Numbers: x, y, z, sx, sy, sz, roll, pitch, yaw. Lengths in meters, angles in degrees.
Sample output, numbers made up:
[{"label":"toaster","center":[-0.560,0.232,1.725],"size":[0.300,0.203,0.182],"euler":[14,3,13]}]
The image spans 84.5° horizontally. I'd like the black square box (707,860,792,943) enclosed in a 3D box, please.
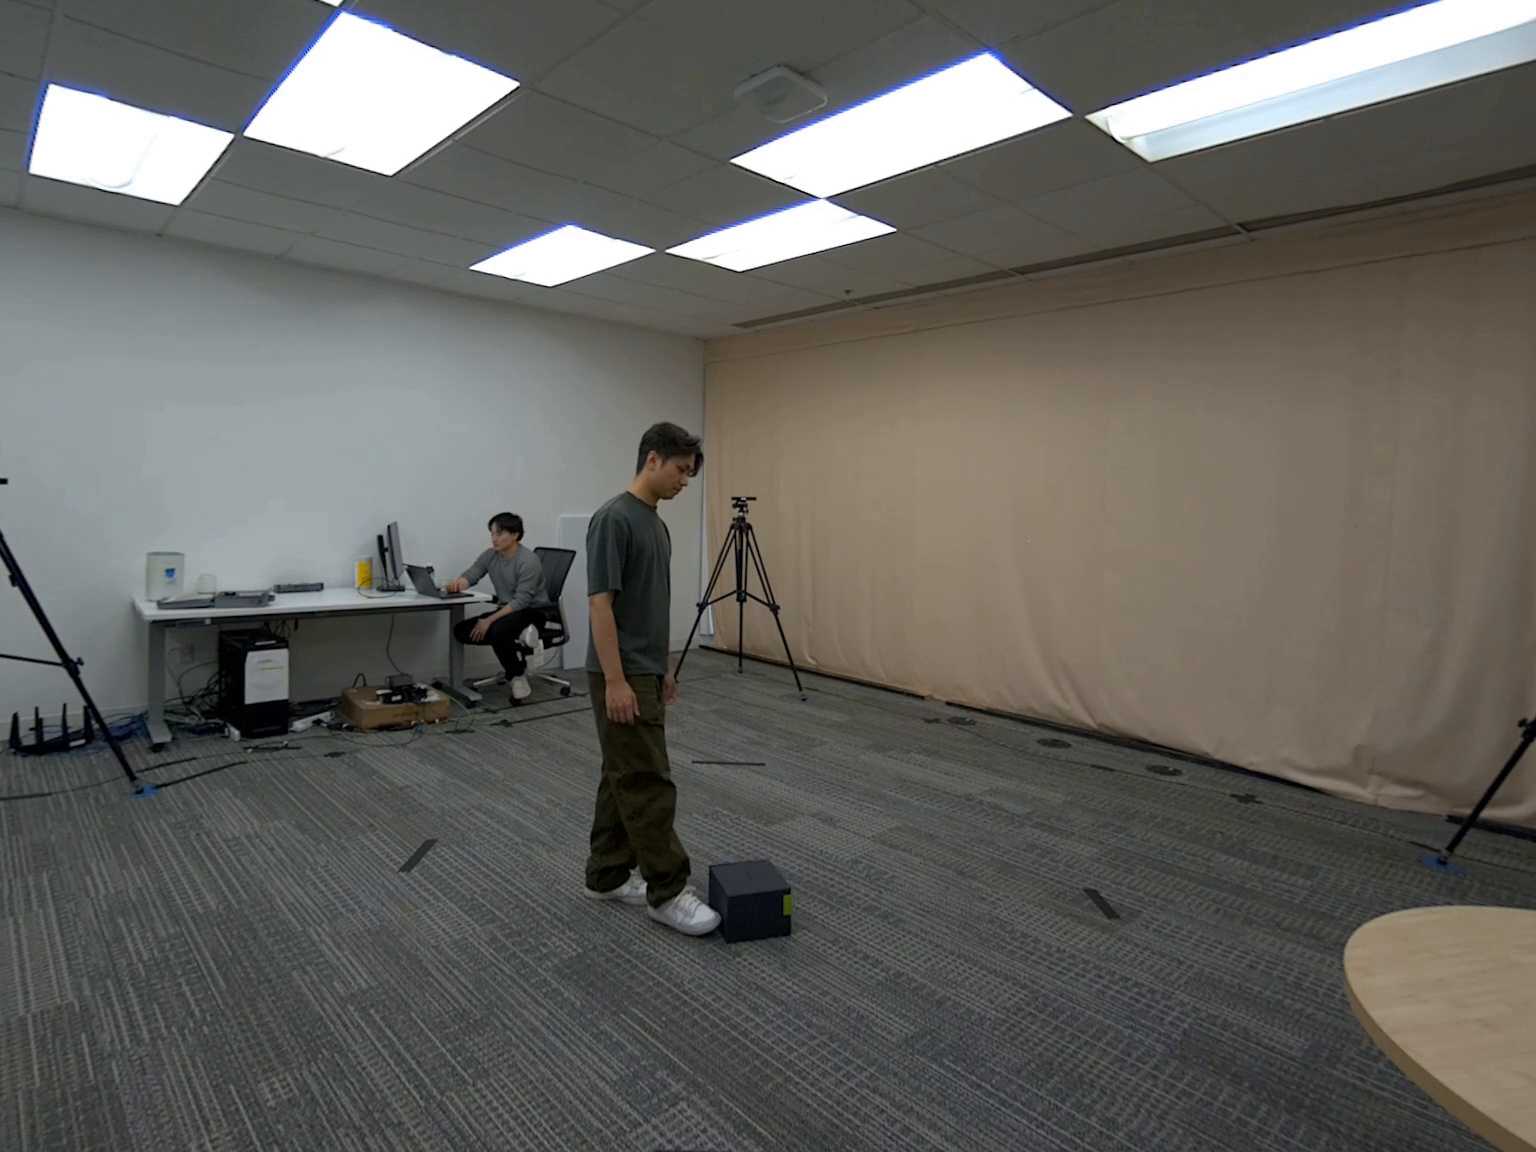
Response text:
[{"label":"black square box","center":[-0.069,1.057,2.752],"size":[0.214,0.155,0.232],"euler":[0,5,-19]}]
